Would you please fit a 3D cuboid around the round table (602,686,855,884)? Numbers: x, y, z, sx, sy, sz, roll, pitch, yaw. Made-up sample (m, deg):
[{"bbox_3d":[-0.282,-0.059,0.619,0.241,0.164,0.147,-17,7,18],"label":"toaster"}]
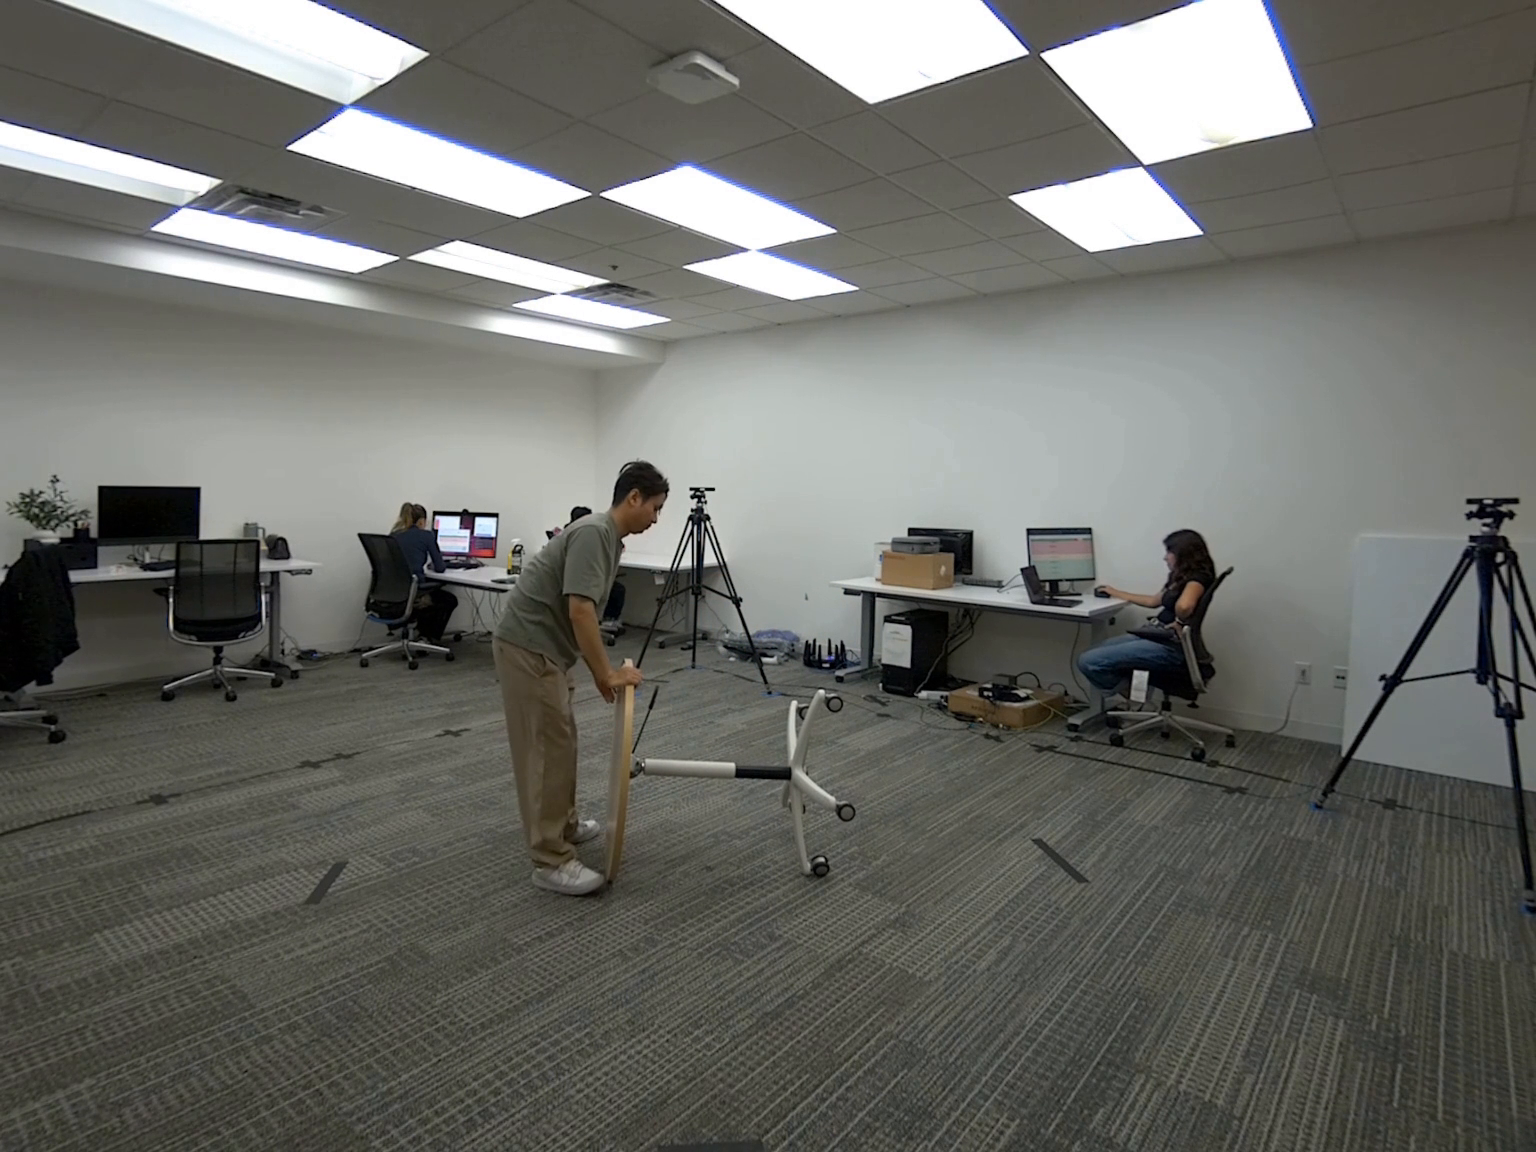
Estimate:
[{"bbox_3d":[-0.171,0.705,3.126,0.777,0.783,0.797,4,3,-12],"label":"round table"}]
